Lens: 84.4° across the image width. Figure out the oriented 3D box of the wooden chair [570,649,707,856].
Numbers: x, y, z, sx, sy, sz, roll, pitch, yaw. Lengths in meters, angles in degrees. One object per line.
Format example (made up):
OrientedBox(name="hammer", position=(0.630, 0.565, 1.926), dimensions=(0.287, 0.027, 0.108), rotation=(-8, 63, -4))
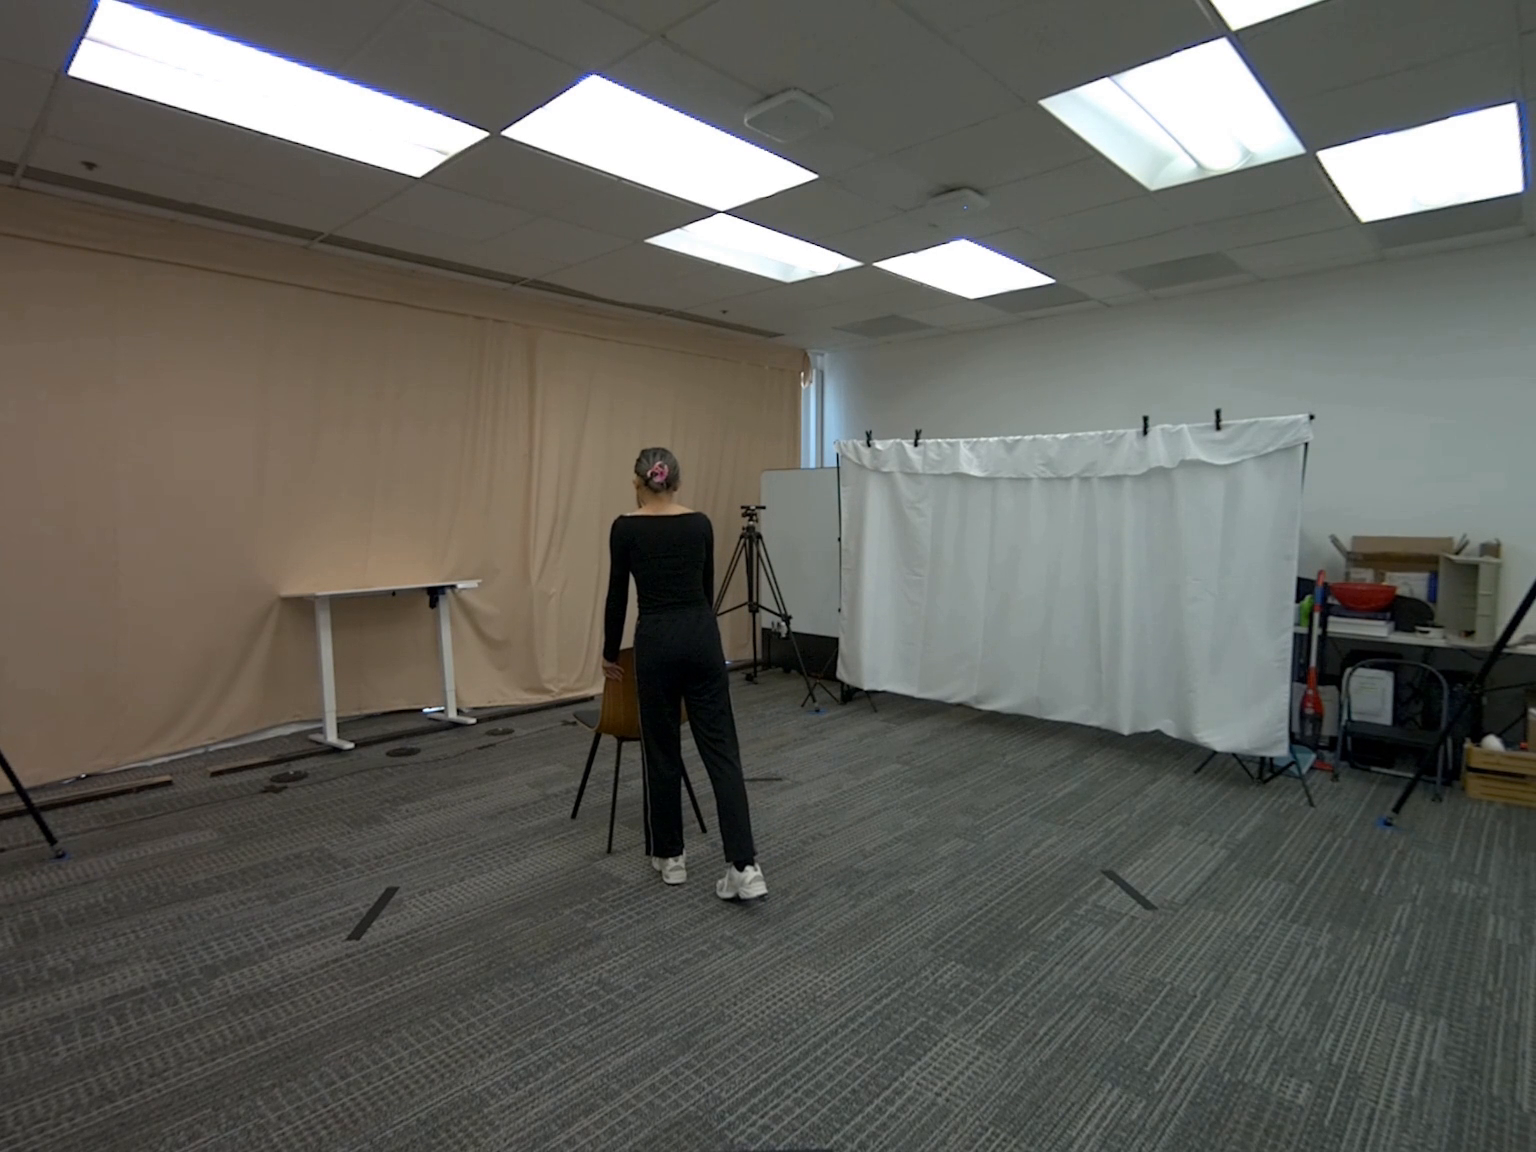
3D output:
OrientedBox(name="wooden chair", position=(-0.579, 0.664, 3.658), dimensions=(0.465, 0.873, 0.539), rotation=(-2, 8, -30))
